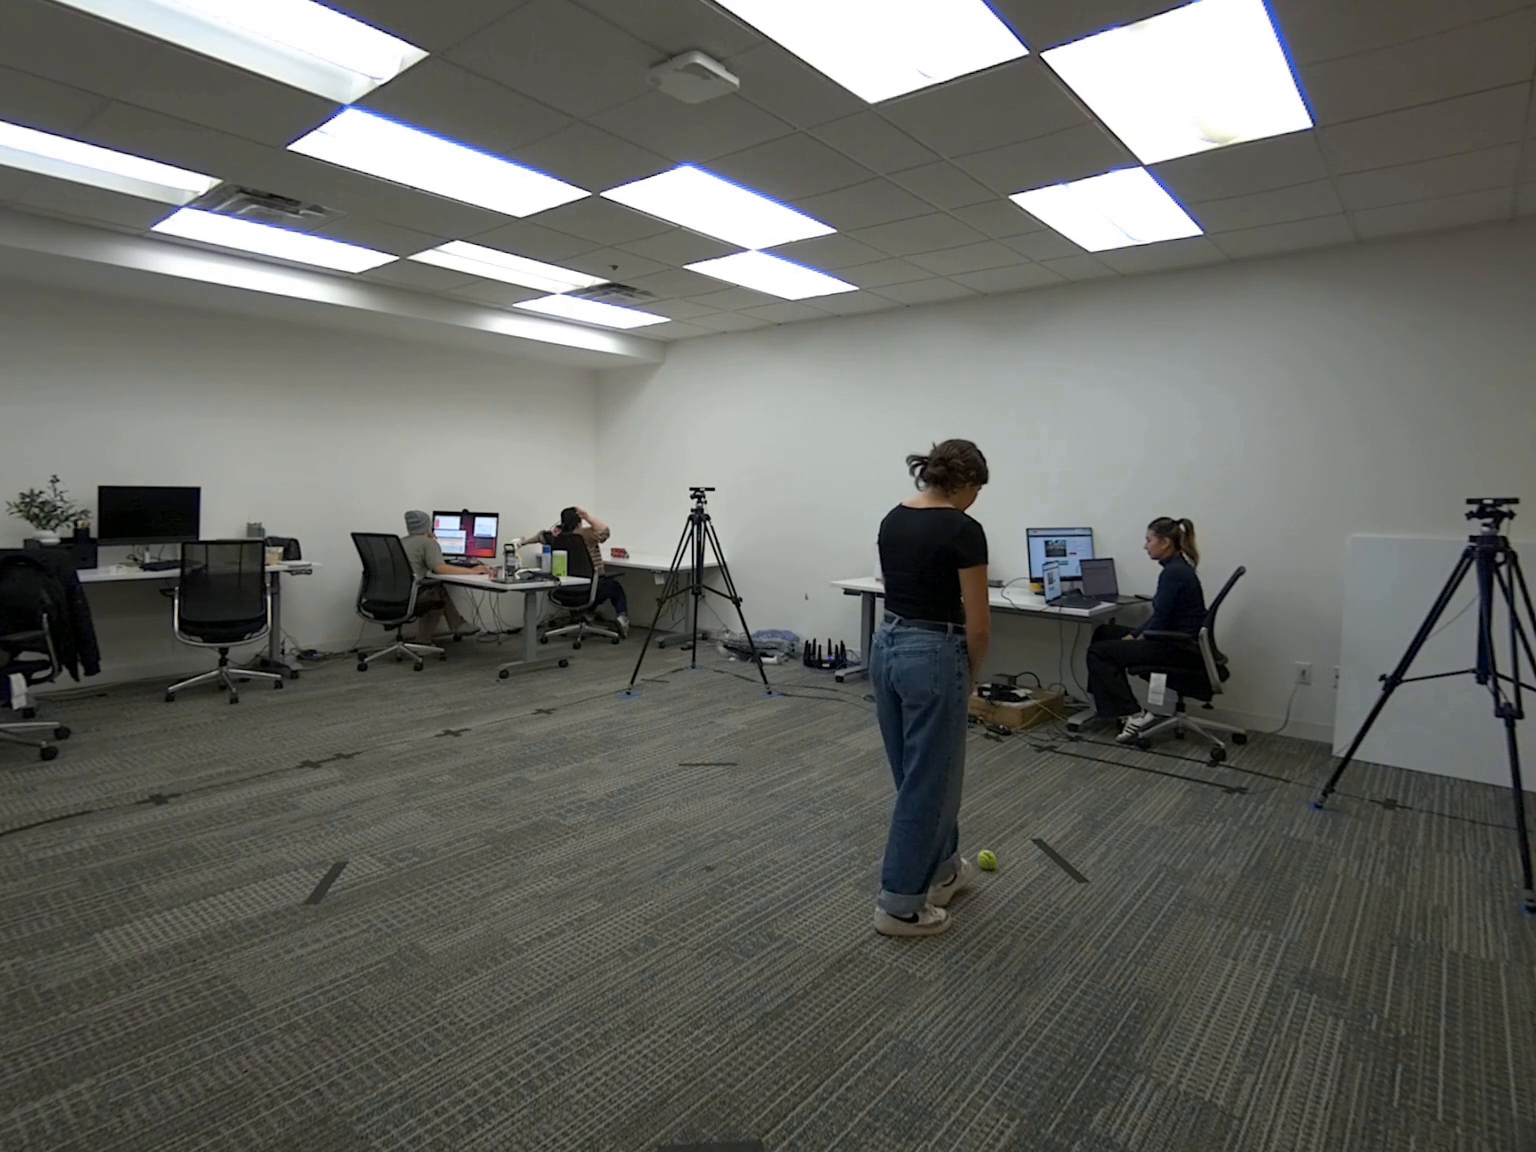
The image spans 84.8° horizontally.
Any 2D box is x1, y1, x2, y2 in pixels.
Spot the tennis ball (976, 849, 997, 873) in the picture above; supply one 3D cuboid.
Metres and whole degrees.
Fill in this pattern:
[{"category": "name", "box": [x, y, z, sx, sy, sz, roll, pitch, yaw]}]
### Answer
[{"category": "tennis ball", "box": [0.807, 1.045, 3.160, 0.066, 0.066, 0.067, 1, 4, -2]}]
